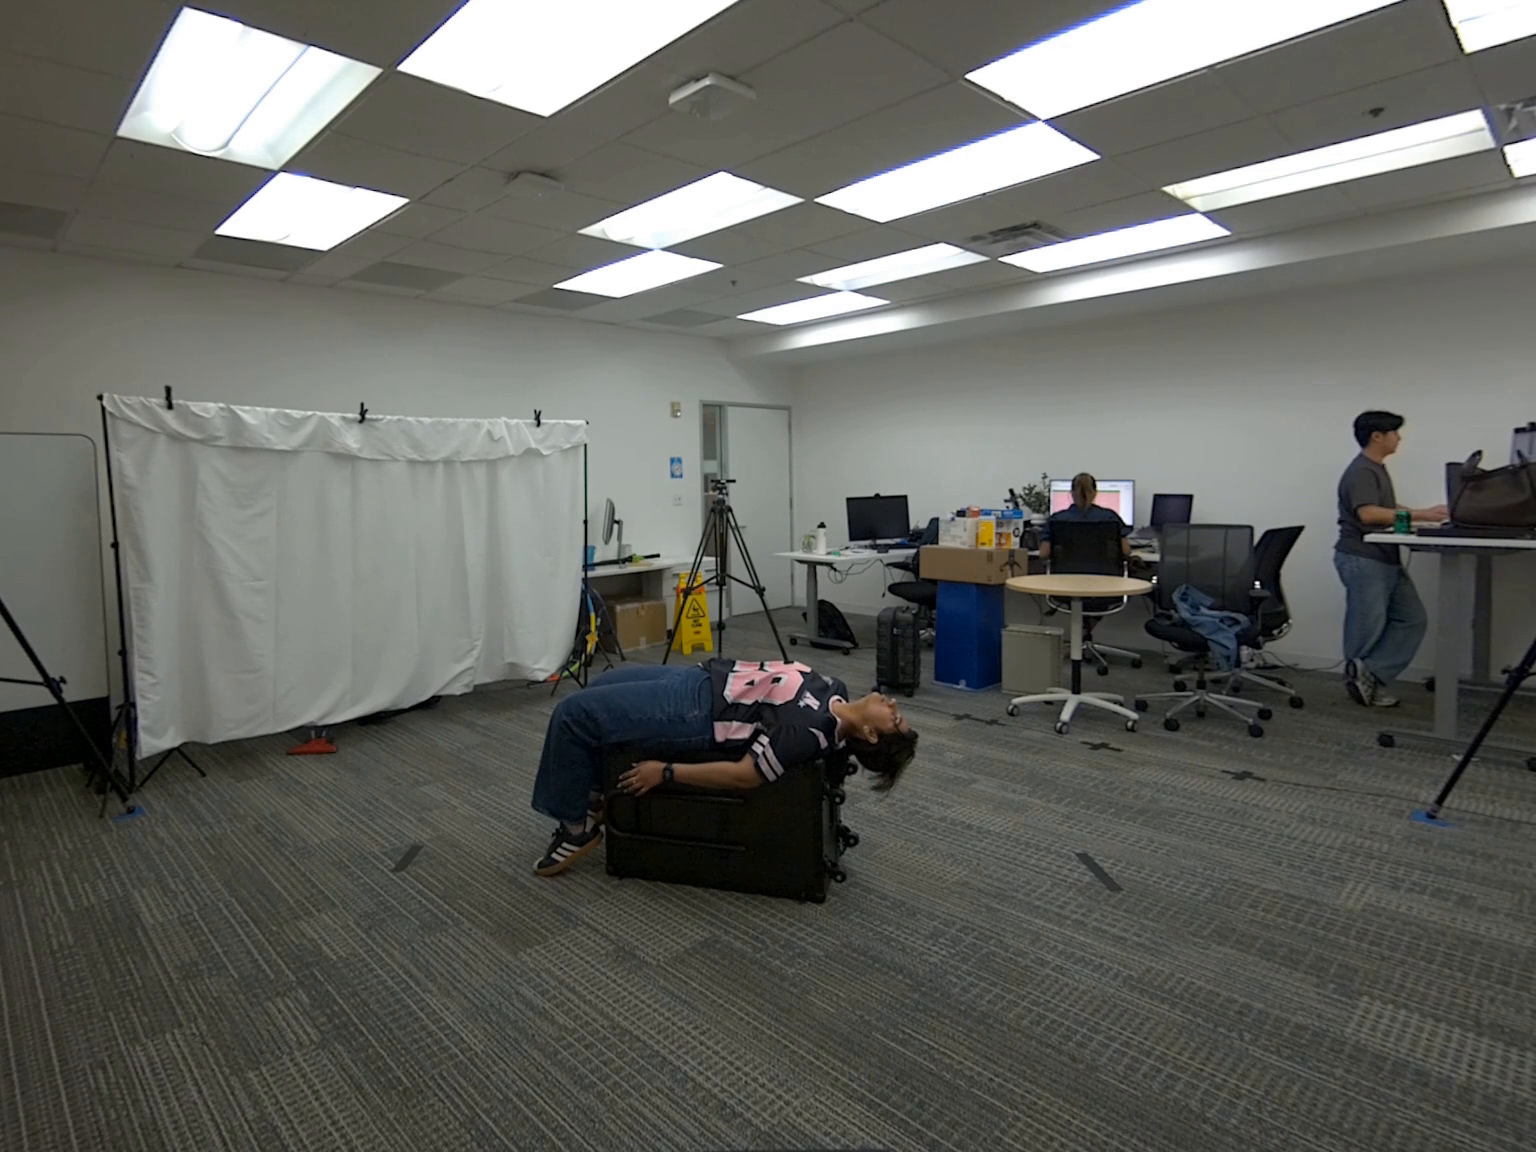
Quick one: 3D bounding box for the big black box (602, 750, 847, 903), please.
[{"bbox_3d":[-0.119,0.798,3.048,0.883,0.522,0.380,1,4,17],"label":"big black box"}]
